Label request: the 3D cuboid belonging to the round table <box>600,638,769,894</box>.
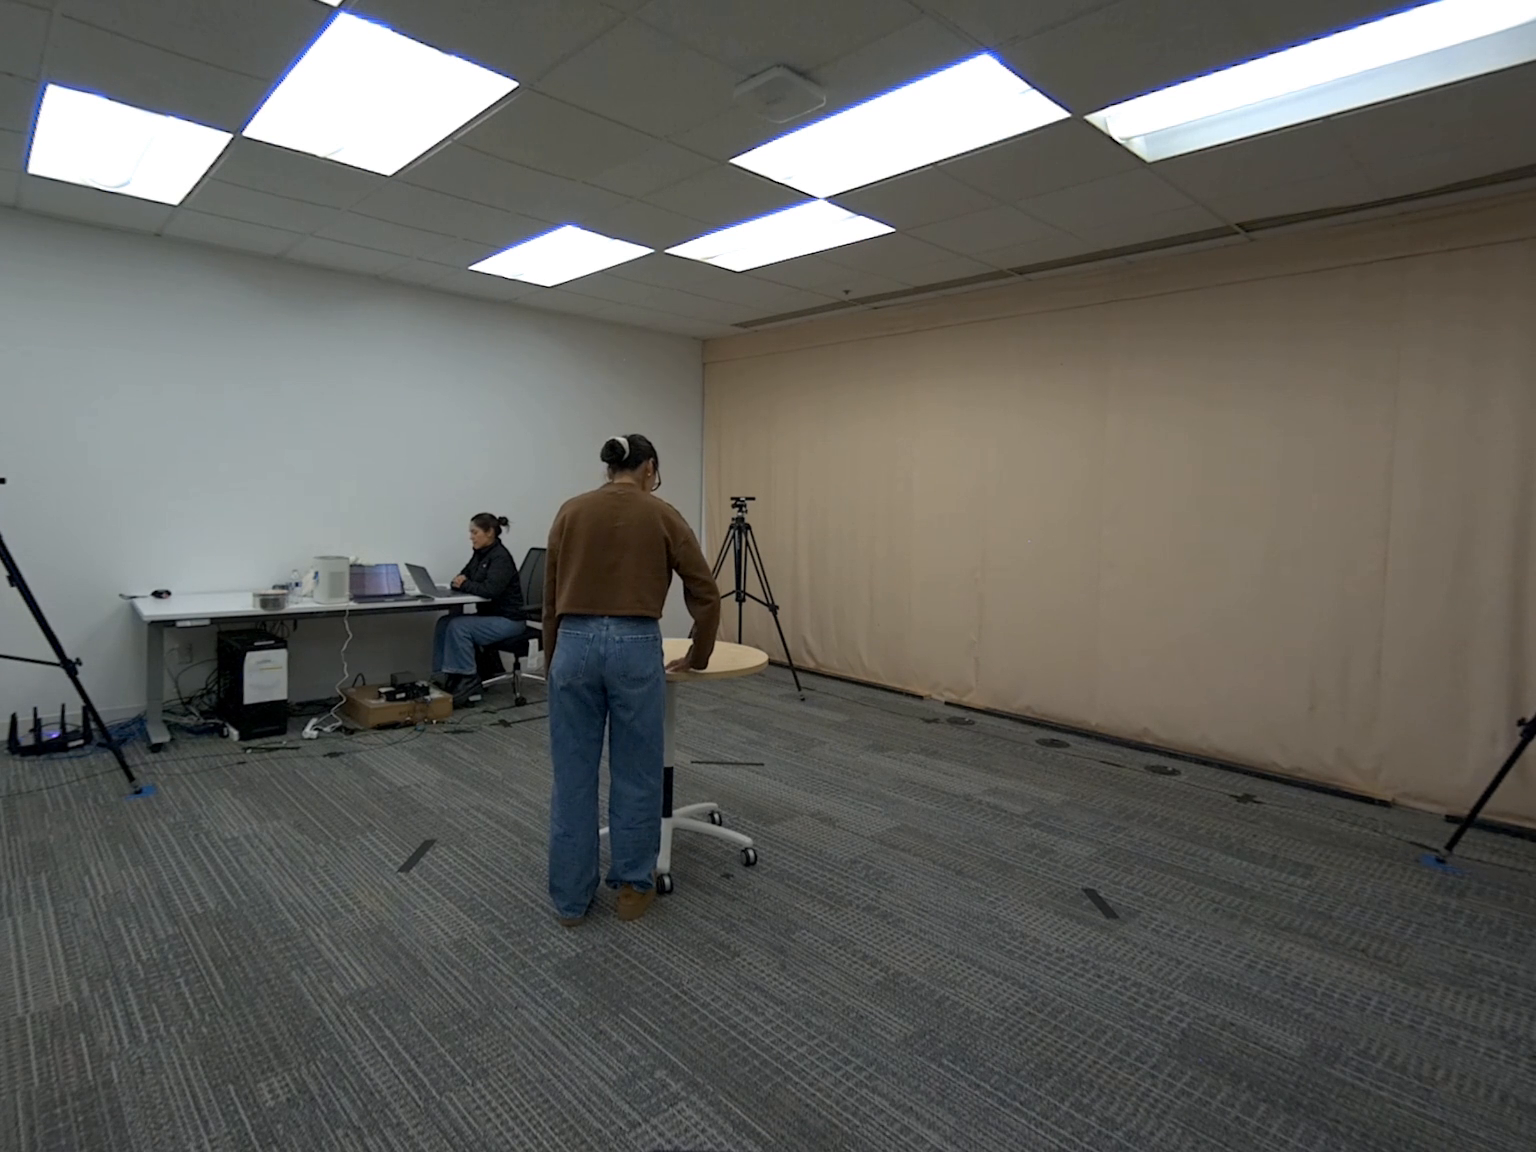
[{"bbox_3d":[-0.399,0.697,3.293,0.763,0.792,0.766,2,4,-1],"label":"round table"}]
